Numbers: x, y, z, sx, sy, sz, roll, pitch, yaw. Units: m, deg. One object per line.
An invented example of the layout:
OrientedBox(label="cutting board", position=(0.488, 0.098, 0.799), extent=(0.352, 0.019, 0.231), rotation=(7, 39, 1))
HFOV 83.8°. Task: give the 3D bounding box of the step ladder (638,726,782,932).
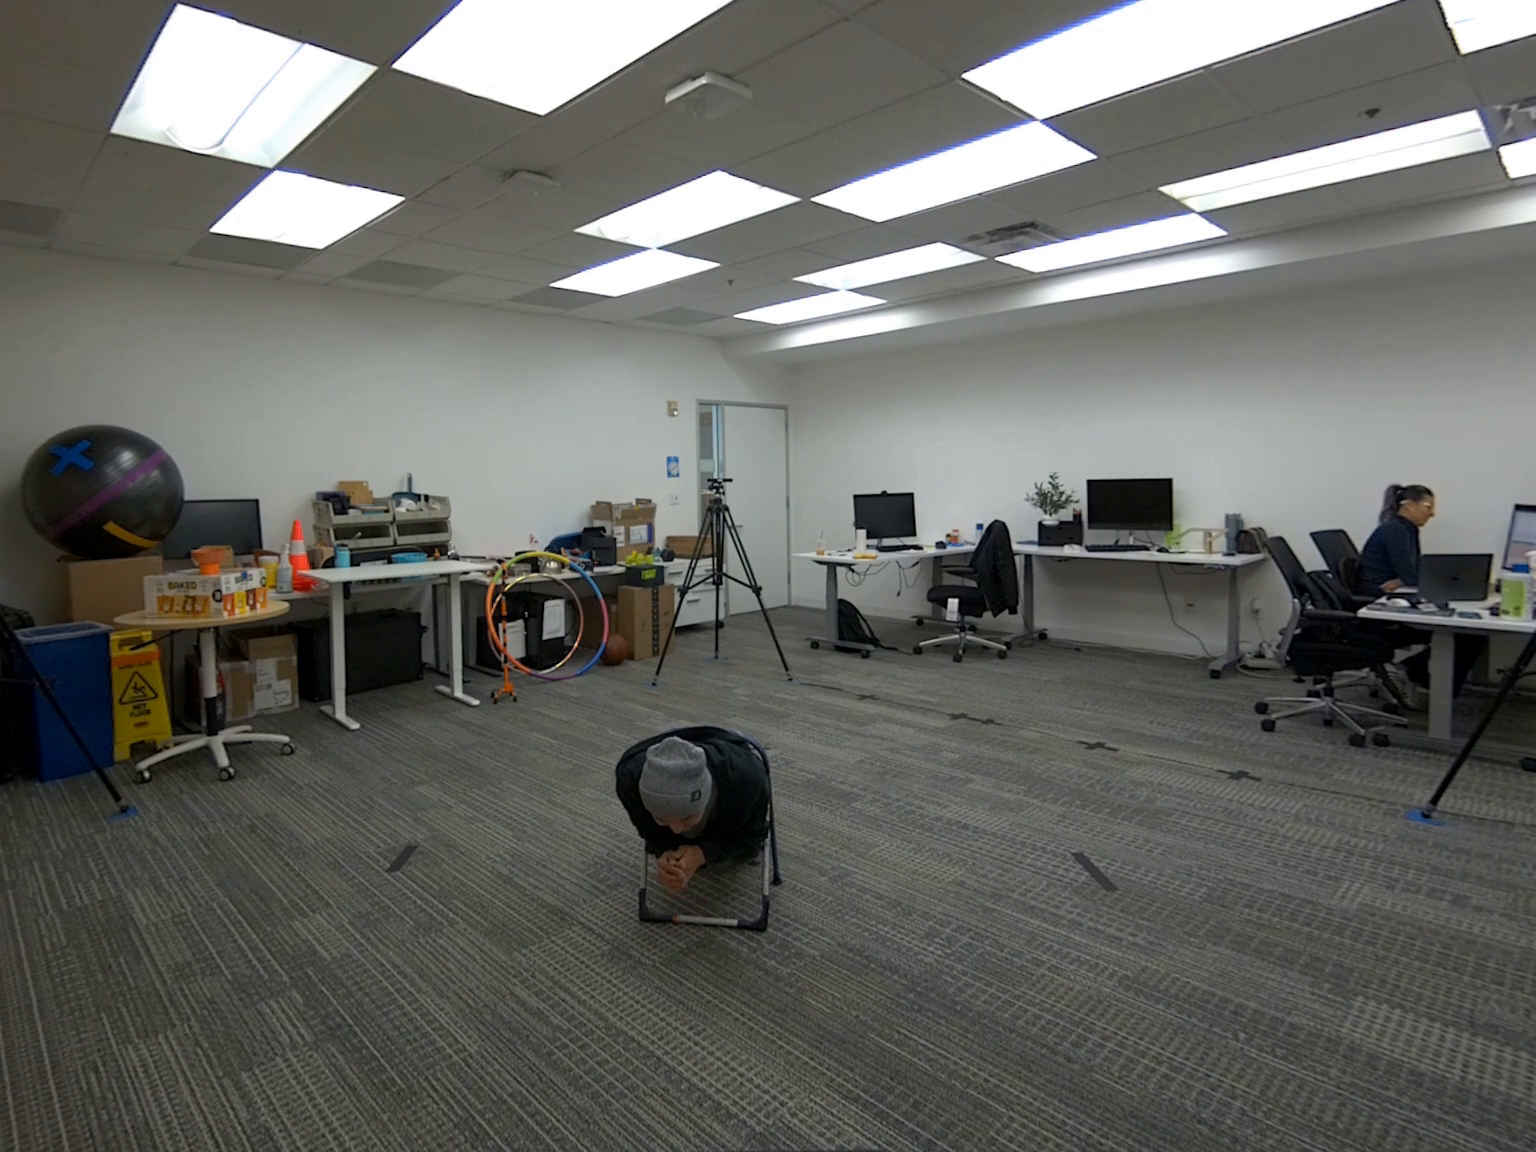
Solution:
OrientedBox(label="step ladder", position=(-0.186, 0.783, 2.819), extent=(0.434, 0.604, 0.348), rotation=(-1, 4, 7))
